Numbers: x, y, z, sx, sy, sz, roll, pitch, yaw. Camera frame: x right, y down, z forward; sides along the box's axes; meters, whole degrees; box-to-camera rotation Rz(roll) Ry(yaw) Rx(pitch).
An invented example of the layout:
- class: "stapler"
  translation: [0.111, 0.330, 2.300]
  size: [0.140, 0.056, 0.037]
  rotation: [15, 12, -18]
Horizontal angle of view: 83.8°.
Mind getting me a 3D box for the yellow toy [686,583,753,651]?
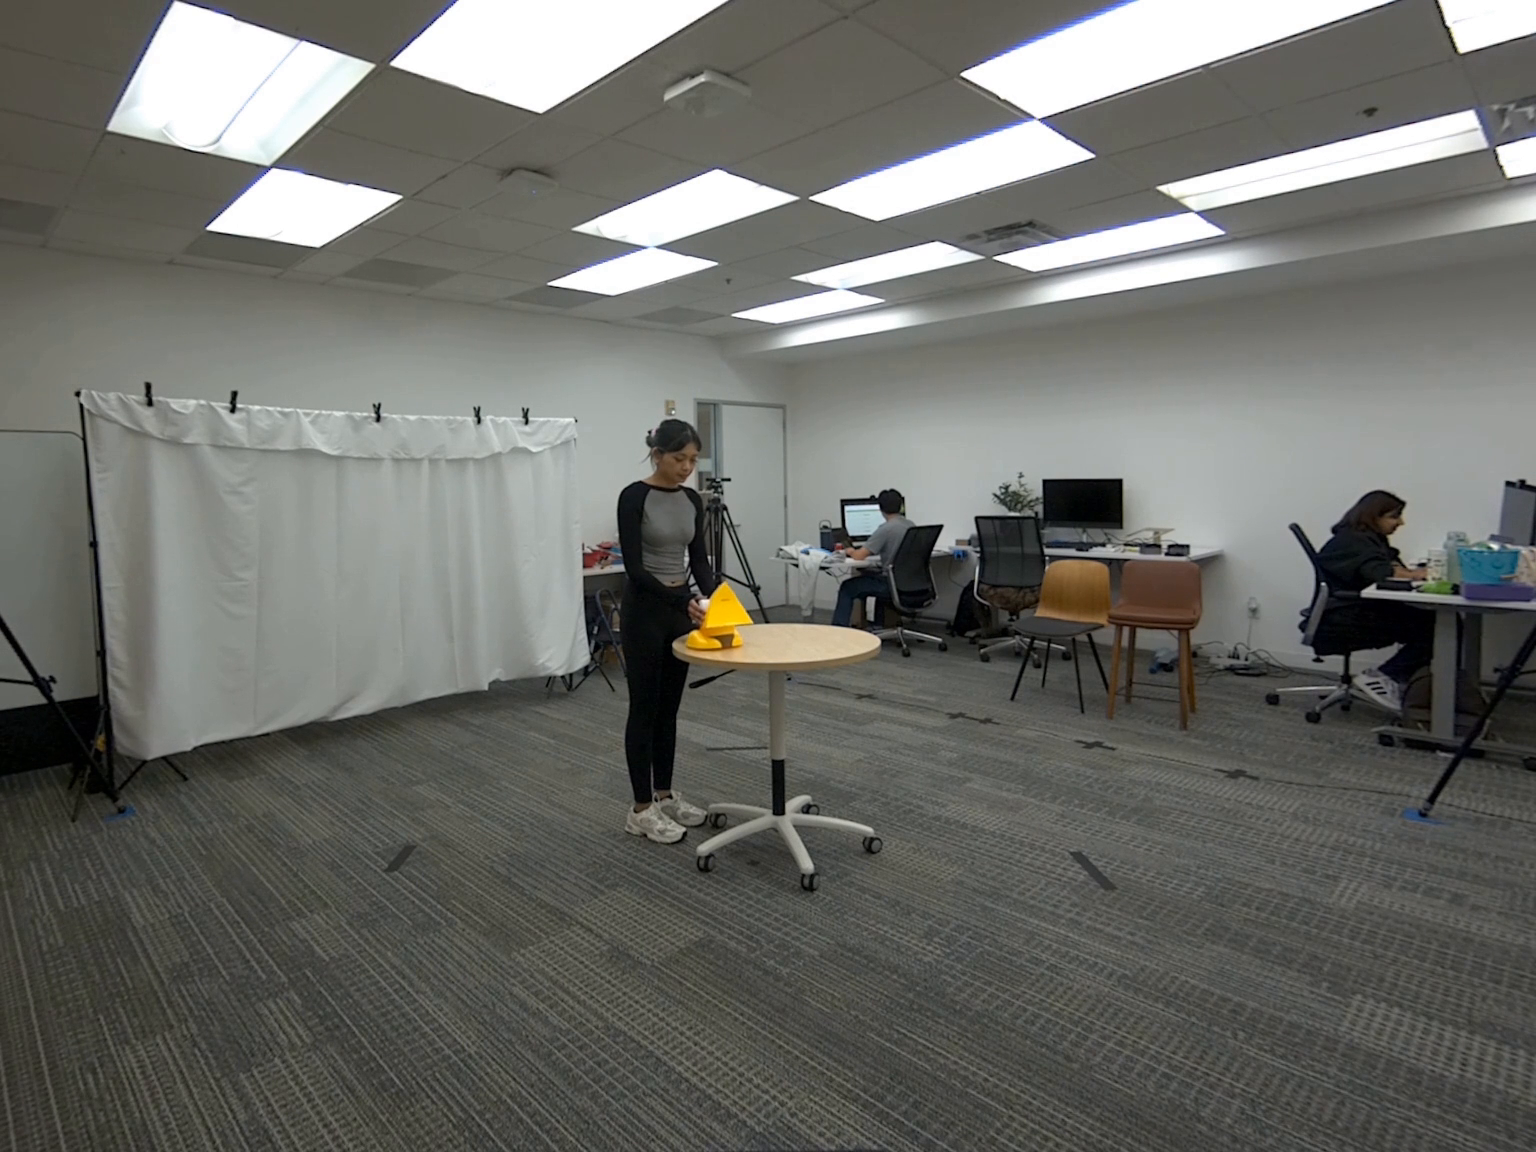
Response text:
- class: "yellow toy"
  translation: [-0.183, 0.134, 3.087]
  size: [0.199, 0.231, 0.198]
  rotation: [-2, 0, -39]
